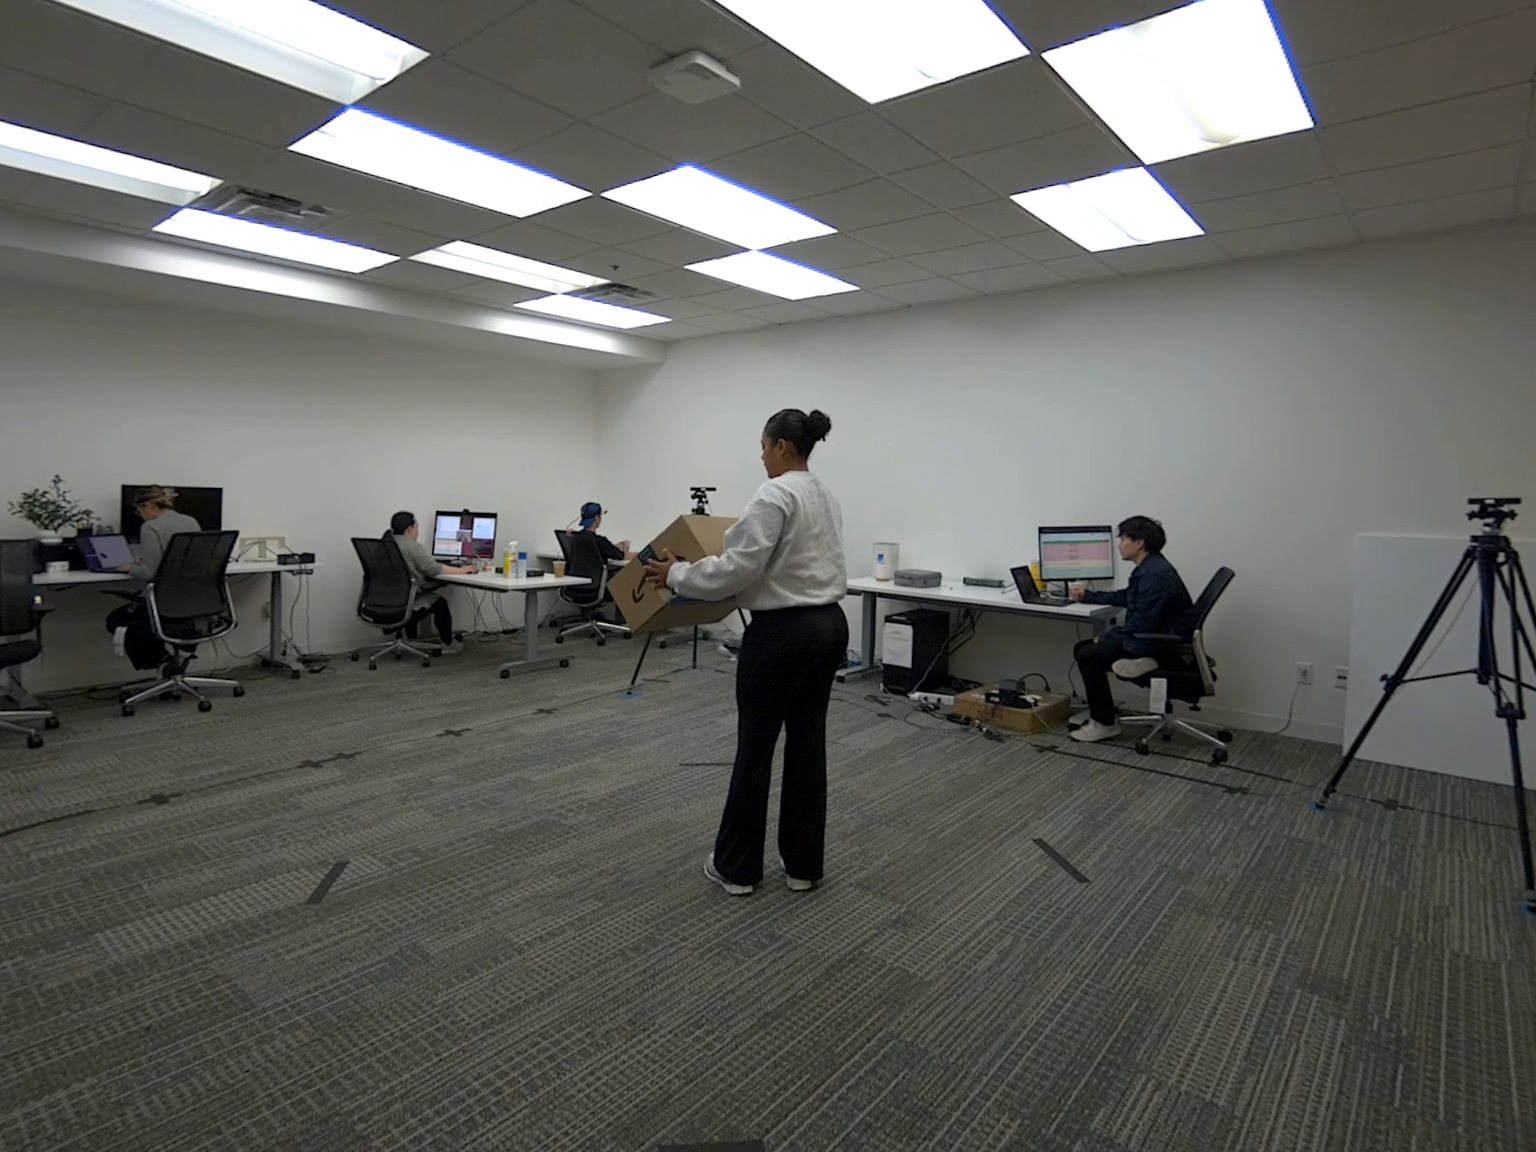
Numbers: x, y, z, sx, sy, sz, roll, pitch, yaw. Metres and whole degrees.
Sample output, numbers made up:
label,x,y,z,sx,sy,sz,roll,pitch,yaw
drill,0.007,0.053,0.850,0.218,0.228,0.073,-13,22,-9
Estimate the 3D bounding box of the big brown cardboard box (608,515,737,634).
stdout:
label,x,y,z,sx,sy,sz,roll,pitch,yaw
big brown cardboard box,-0.254,-0.012,3.195,0.419,0.239,0.571,-40,-20,26
